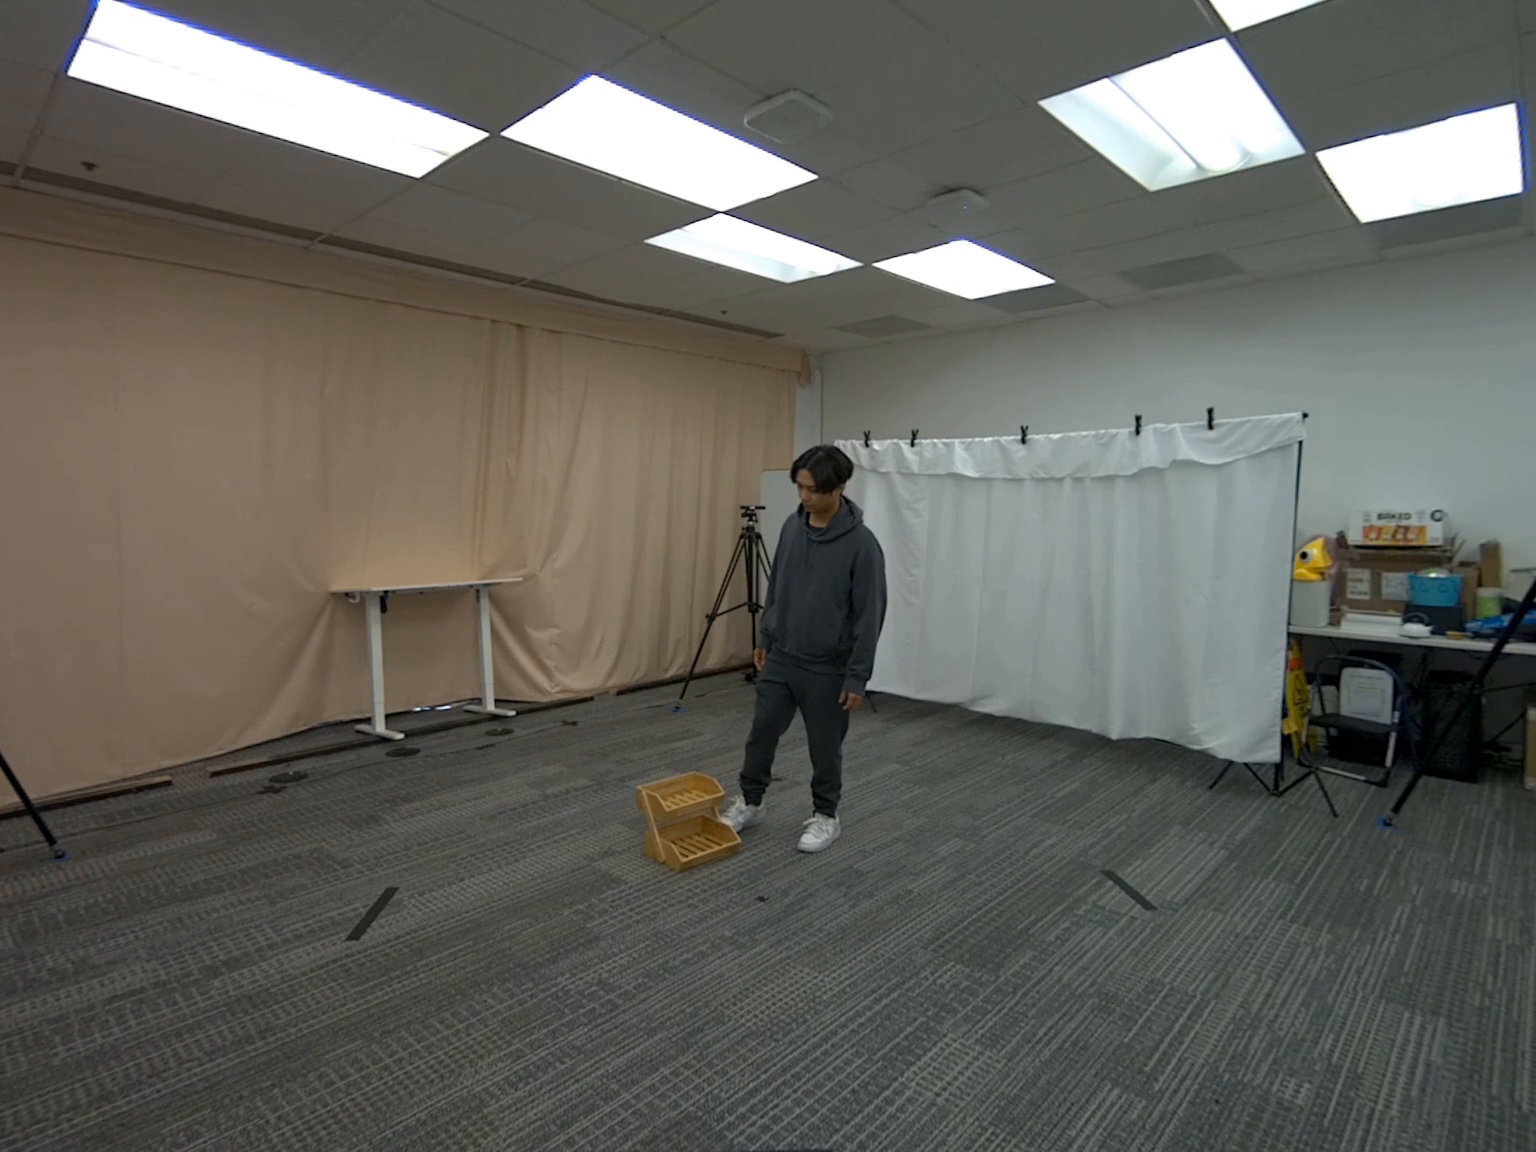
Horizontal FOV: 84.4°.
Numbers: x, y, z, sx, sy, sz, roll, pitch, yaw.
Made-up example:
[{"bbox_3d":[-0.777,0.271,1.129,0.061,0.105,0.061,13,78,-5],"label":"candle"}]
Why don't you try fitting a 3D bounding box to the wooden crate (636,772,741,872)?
[{"bbox_3d":[-0.318,0.977,3.392,0.314,0.273,0.312,-4,4,-42],"label":"wooden crate"}]
